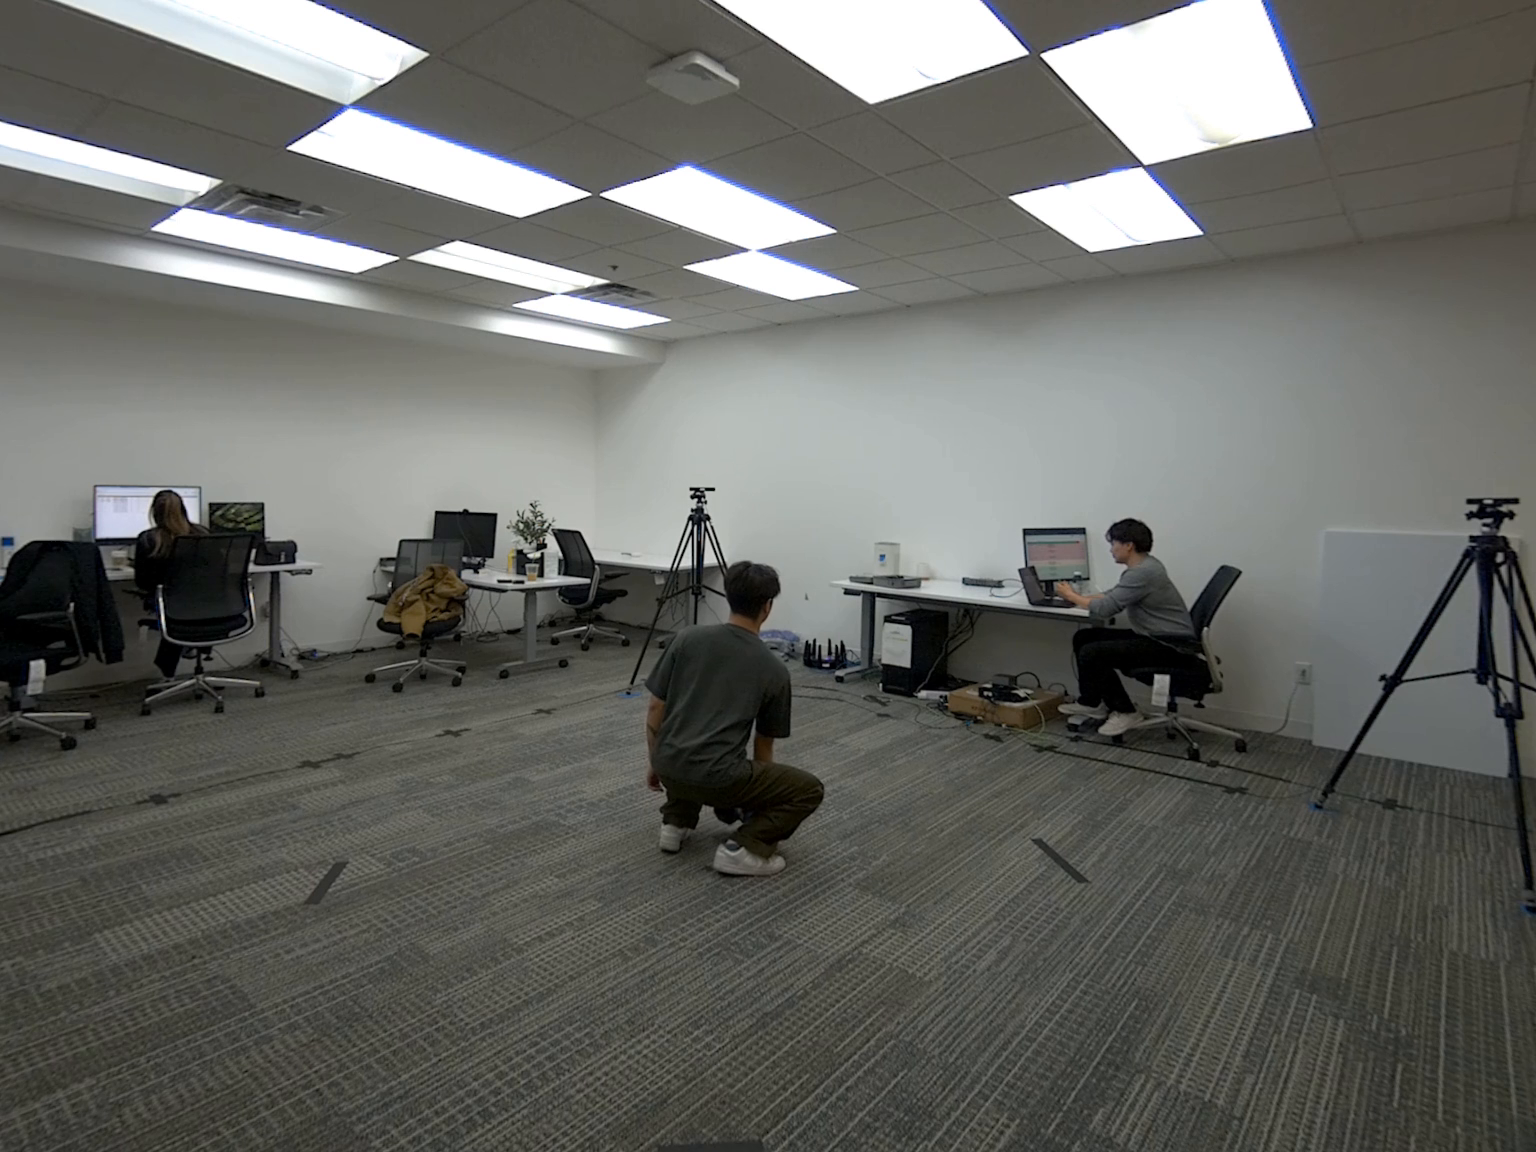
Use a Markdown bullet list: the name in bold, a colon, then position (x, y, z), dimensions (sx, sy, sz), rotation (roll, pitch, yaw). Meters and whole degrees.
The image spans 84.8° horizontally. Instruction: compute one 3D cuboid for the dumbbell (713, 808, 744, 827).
- **dumbbell**: position (-0.083, 0.948, 3.355), dimensions (0.304, 0.124, 0.104), rotation (10, -12, 38)
